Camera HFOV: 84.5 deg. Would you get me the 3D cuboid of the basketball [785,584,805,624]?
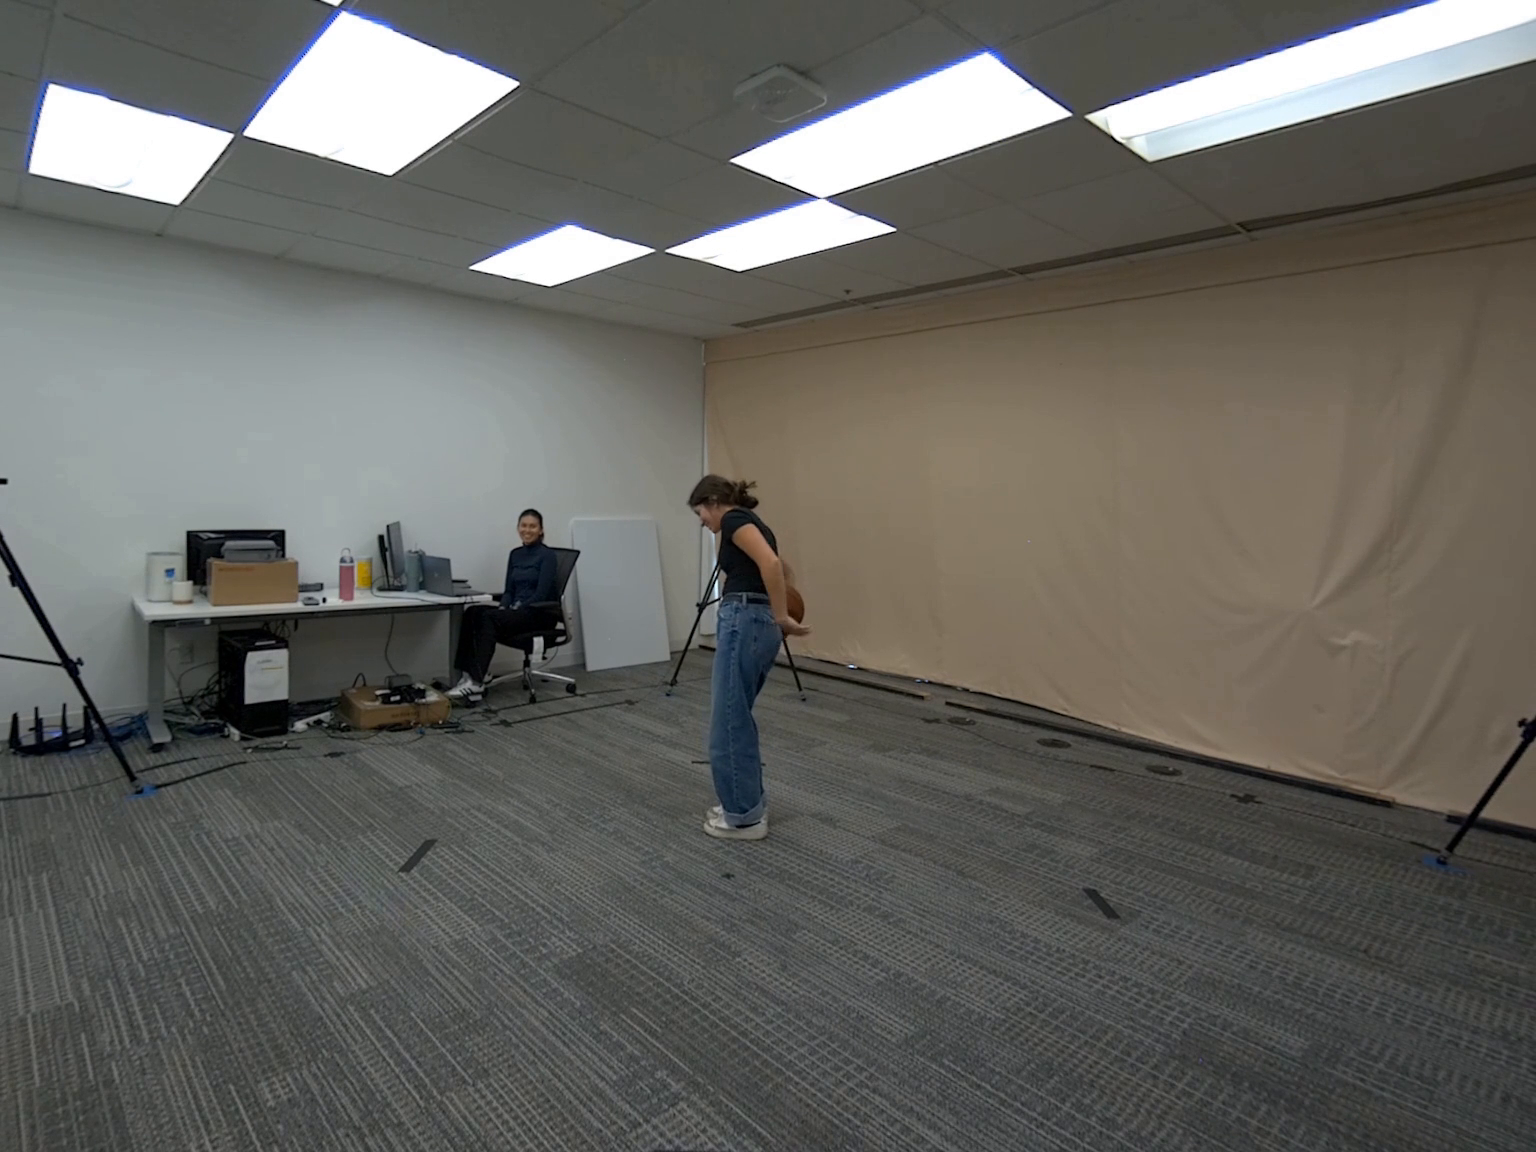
[{"bbox_3d":[0.040,0.155,3.697,0.236,0.235,0.237,1,4,-1],"label":"basketball"}]
